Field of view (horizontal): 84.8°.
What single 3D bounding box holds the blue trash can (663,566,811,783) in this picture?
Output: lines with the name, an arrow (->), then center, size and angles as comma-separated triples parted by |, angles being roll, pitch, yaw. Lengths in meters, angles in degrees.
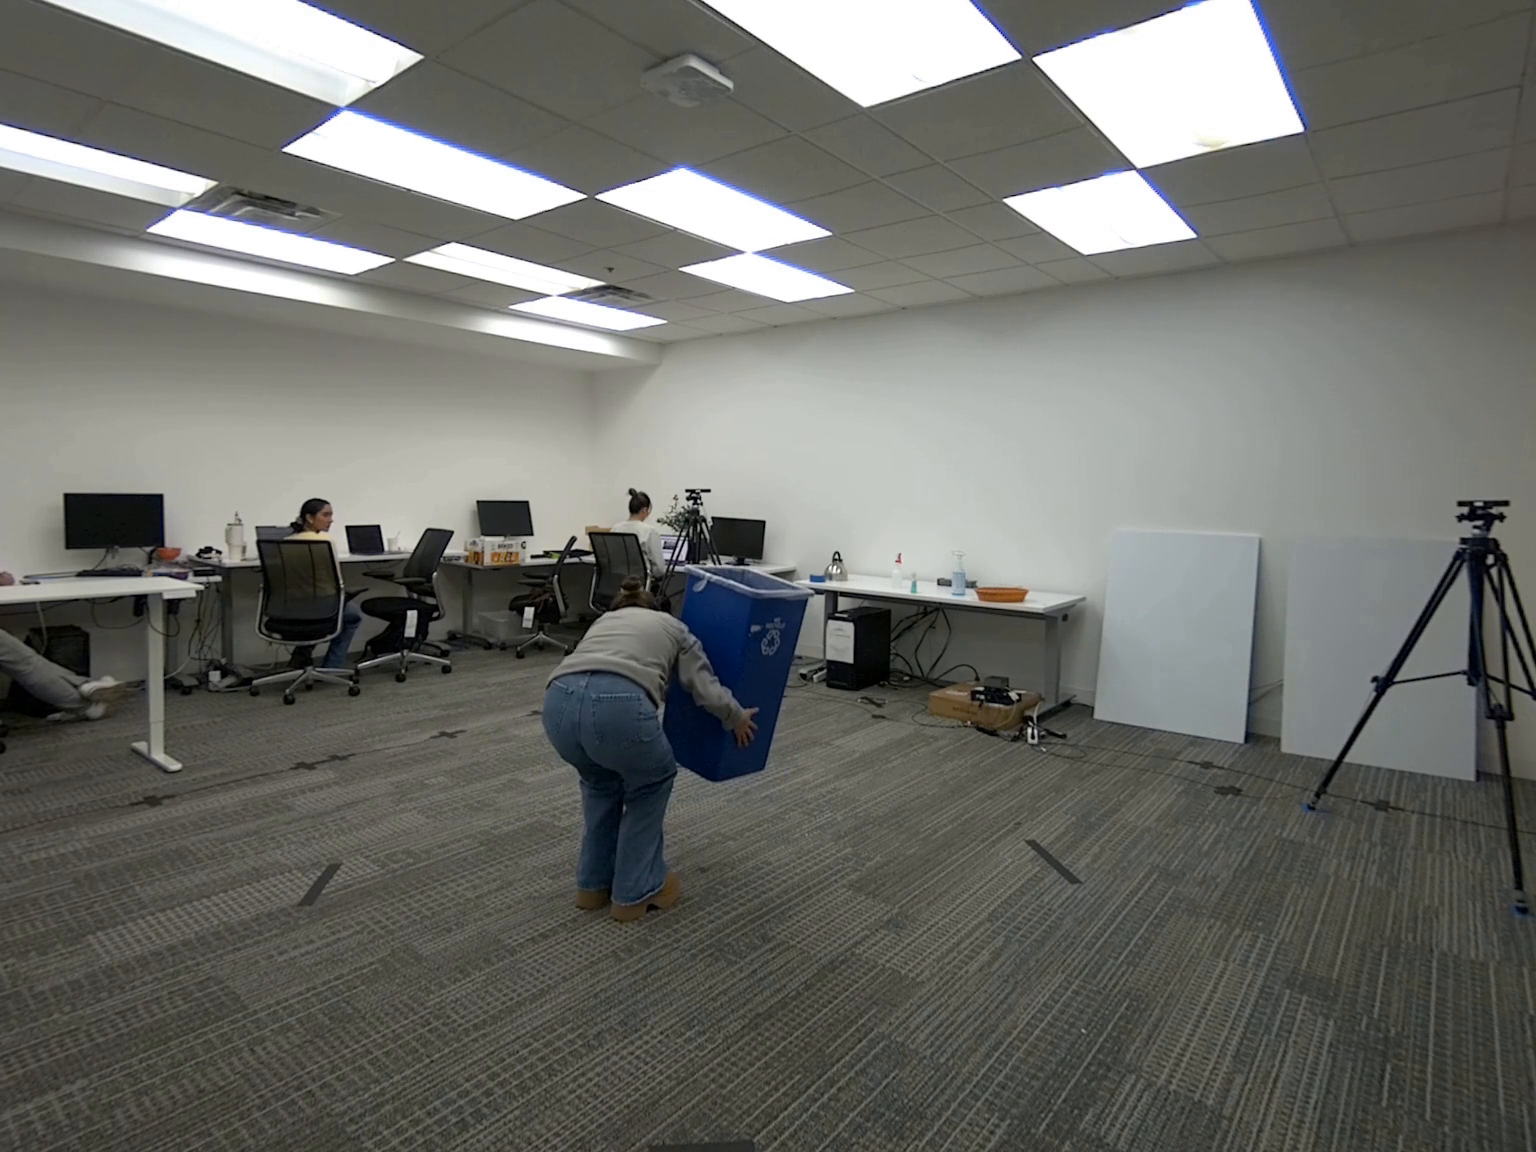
blue trash can -> -0.148, 0.340, 3.178 | 0.392, 0.710, 0.362 | 17, 9, 38
